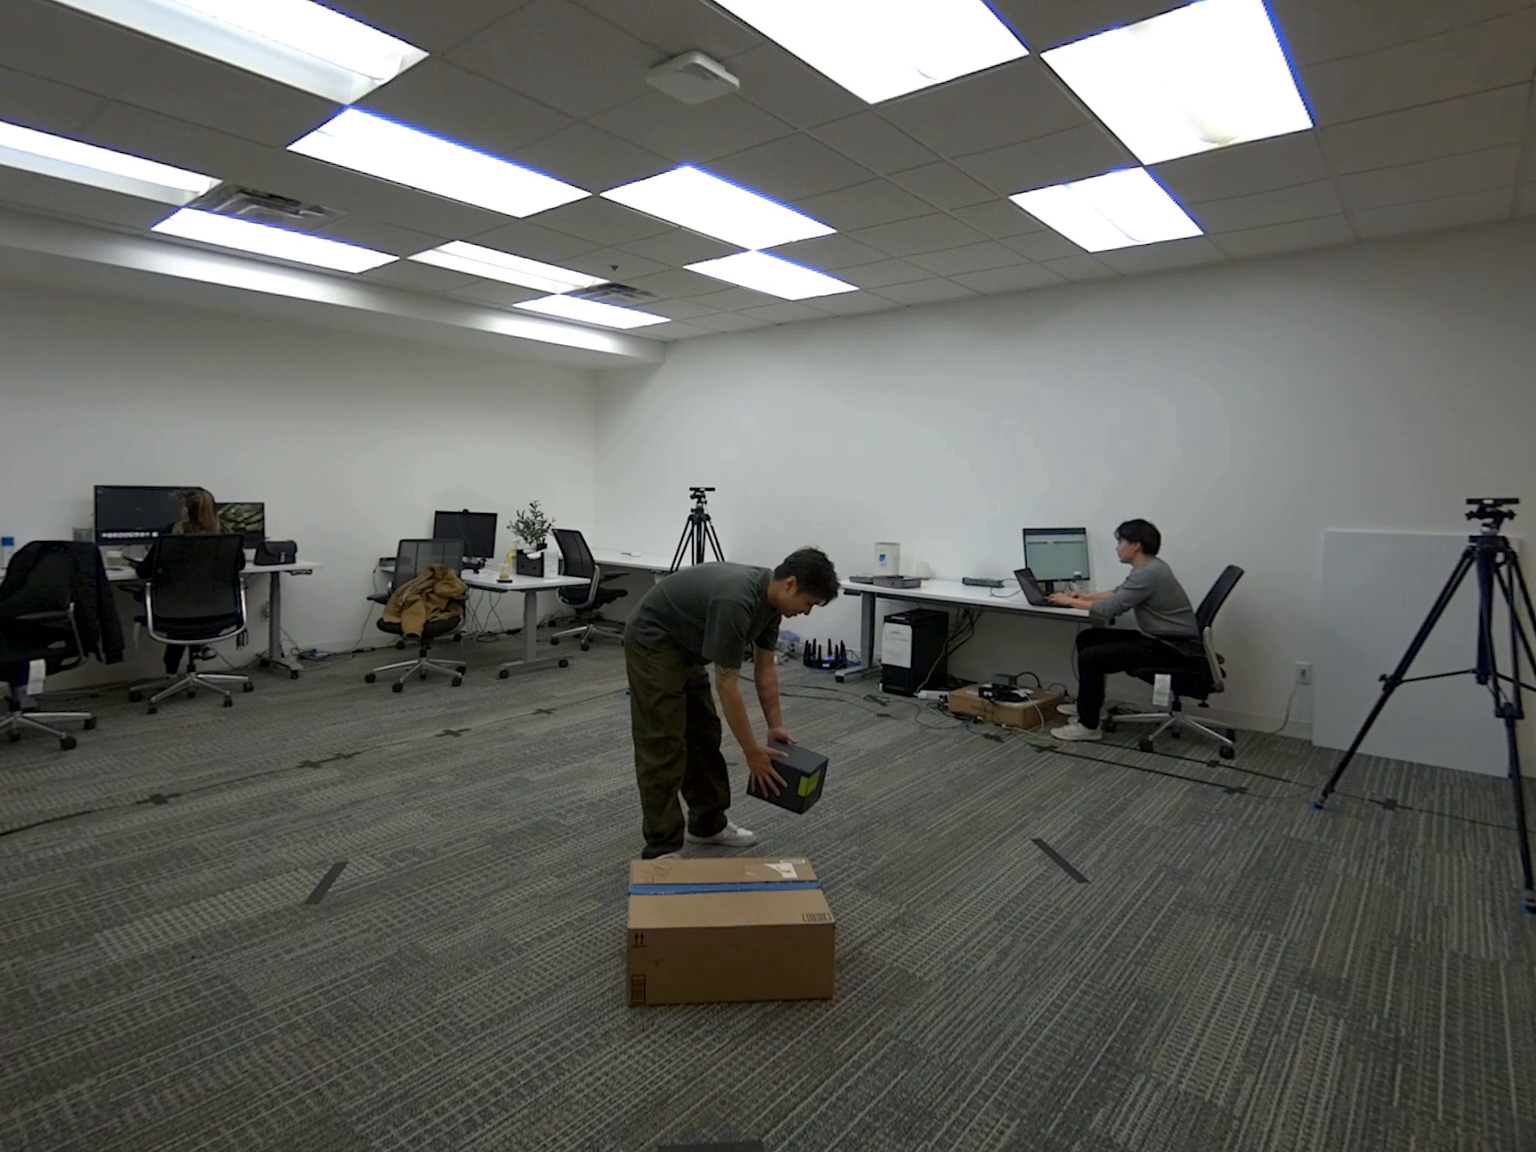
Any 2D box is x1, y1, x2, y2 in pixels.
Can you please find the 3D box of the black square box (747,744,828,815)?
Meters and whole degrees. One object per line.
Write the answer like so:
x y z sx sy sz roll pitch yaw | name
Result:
0.066 0.723 3.069 0.223 0.155 0.223 14 6 21 | black square box
